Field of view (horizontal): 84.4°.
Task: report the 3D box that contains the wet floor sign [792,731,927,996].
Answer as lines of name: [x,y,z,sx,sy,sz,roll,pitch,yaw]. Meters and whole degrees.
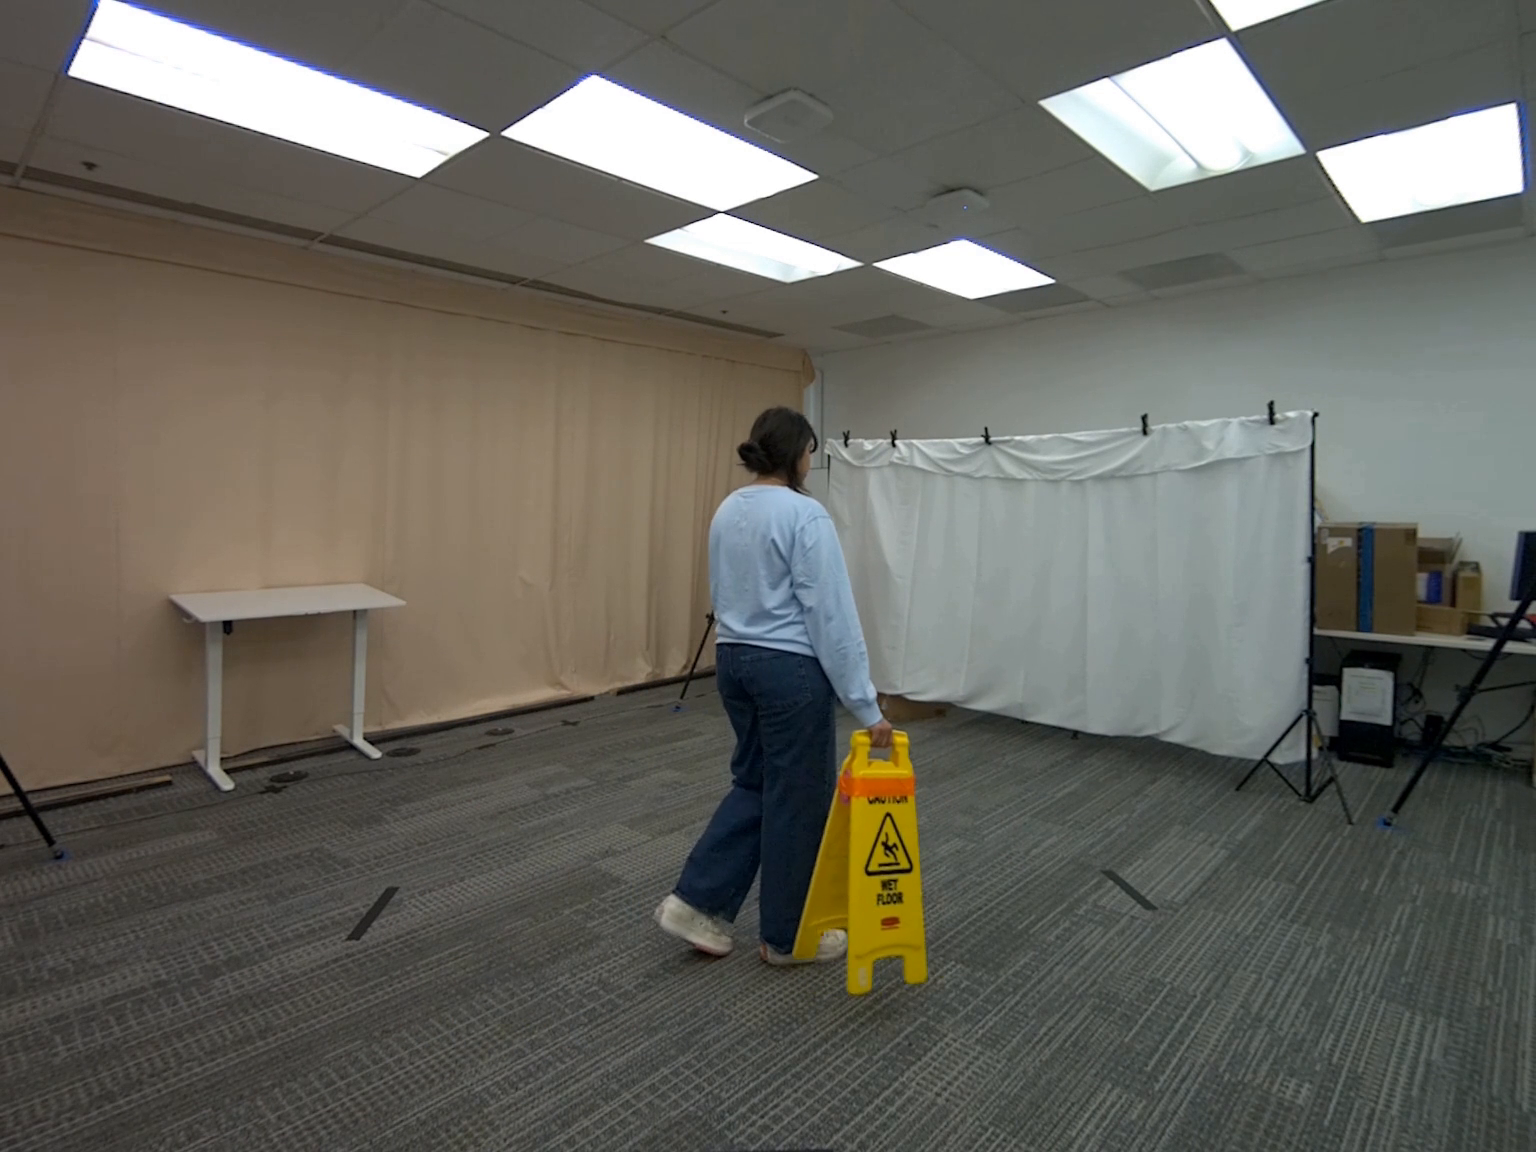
wet floor sign: [0.288,0.760,2.345,0.273,0.647,0.298,9,-5,-34]
